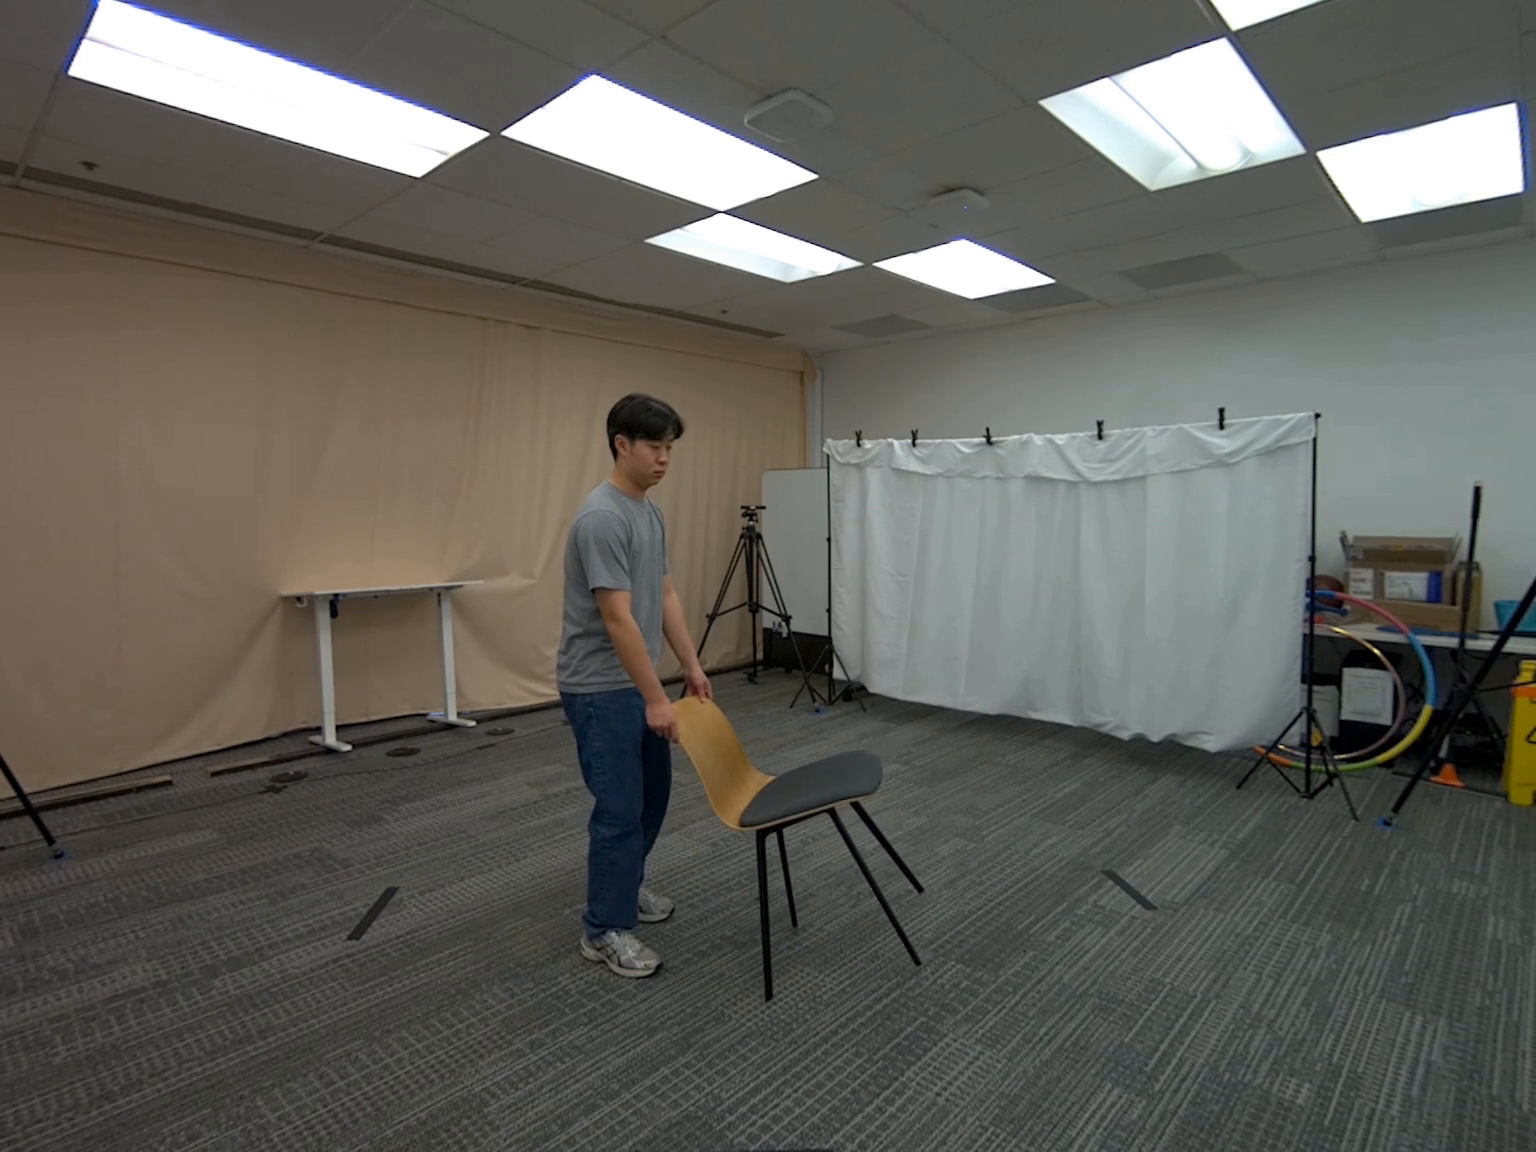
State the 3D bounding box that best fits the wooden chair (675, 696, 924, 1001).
[{"bbox_3d":[0.106,0.705,2.524,0.528,0.881,0.471,-26,-3,14],"label":"wooden chair"}]
